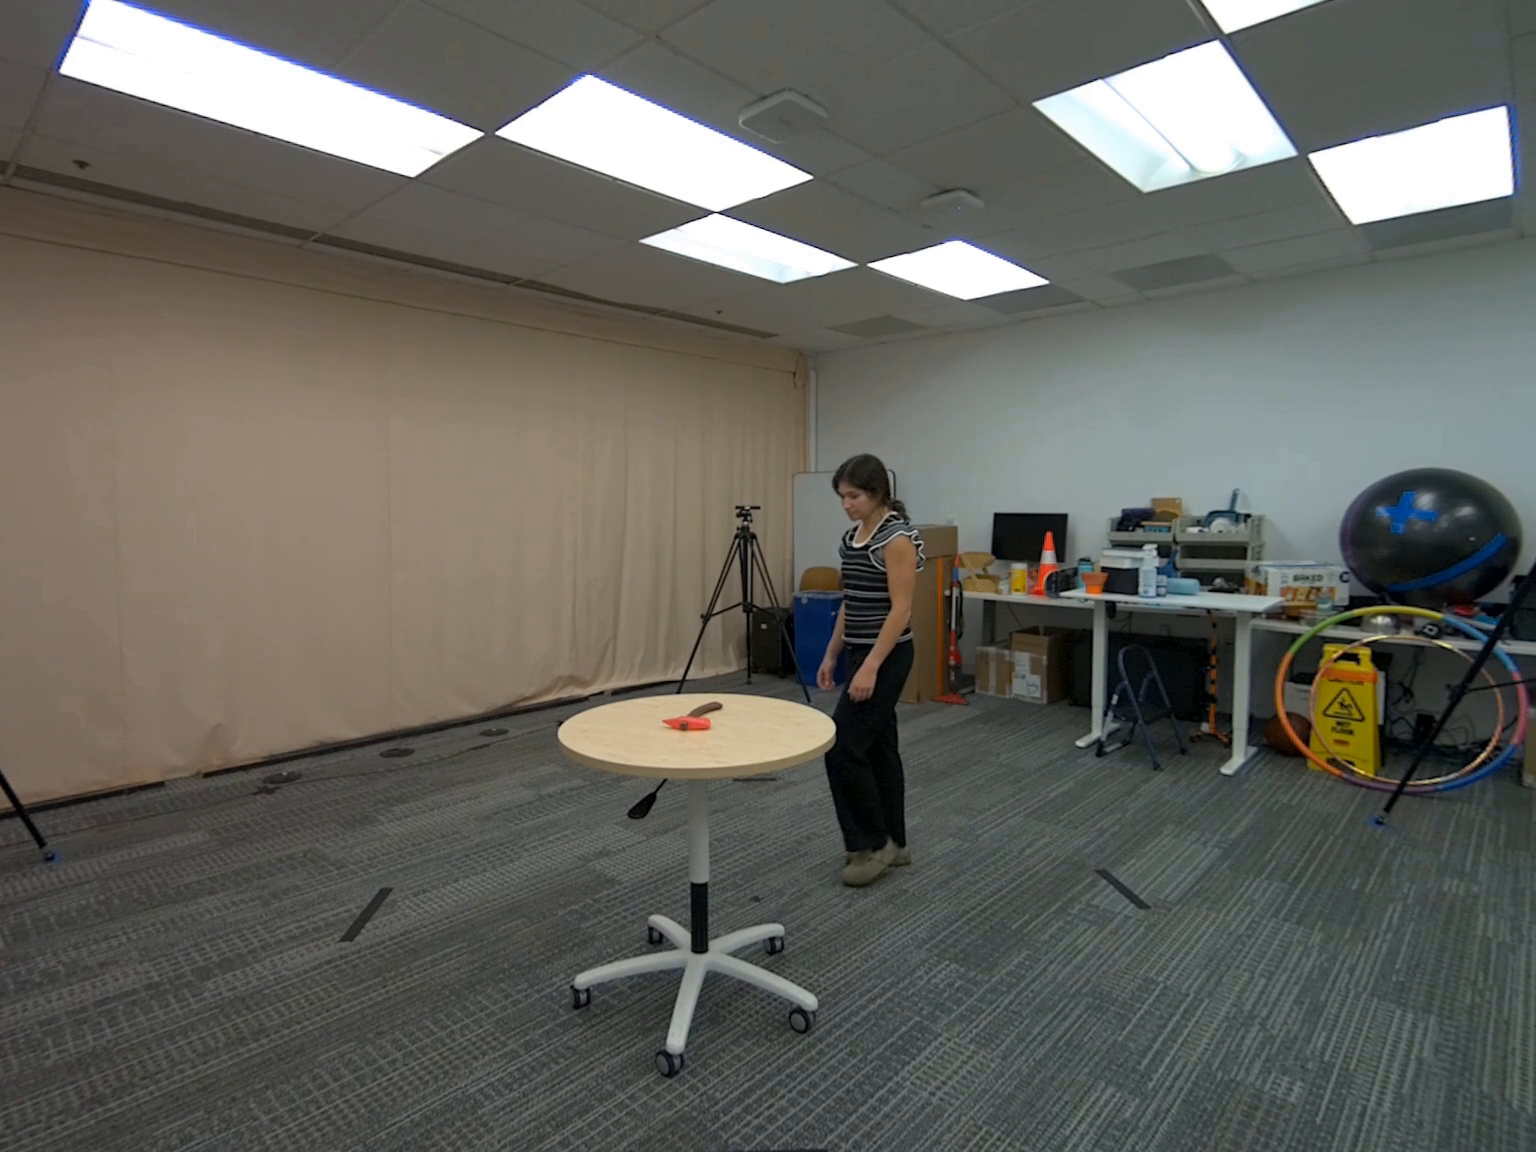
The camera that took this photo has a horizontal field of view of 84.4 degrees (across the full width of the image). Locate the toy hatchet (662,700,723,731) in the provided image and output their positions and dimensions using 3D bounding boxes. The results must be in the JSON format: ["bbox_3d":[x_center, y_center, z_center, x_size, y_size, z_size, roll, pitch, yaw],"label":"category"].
[{"bbox_3d":[-0.175,0.396,2.402,0.135,0.029,0.263,3,5,29],"label":"toy hatchet"}]
